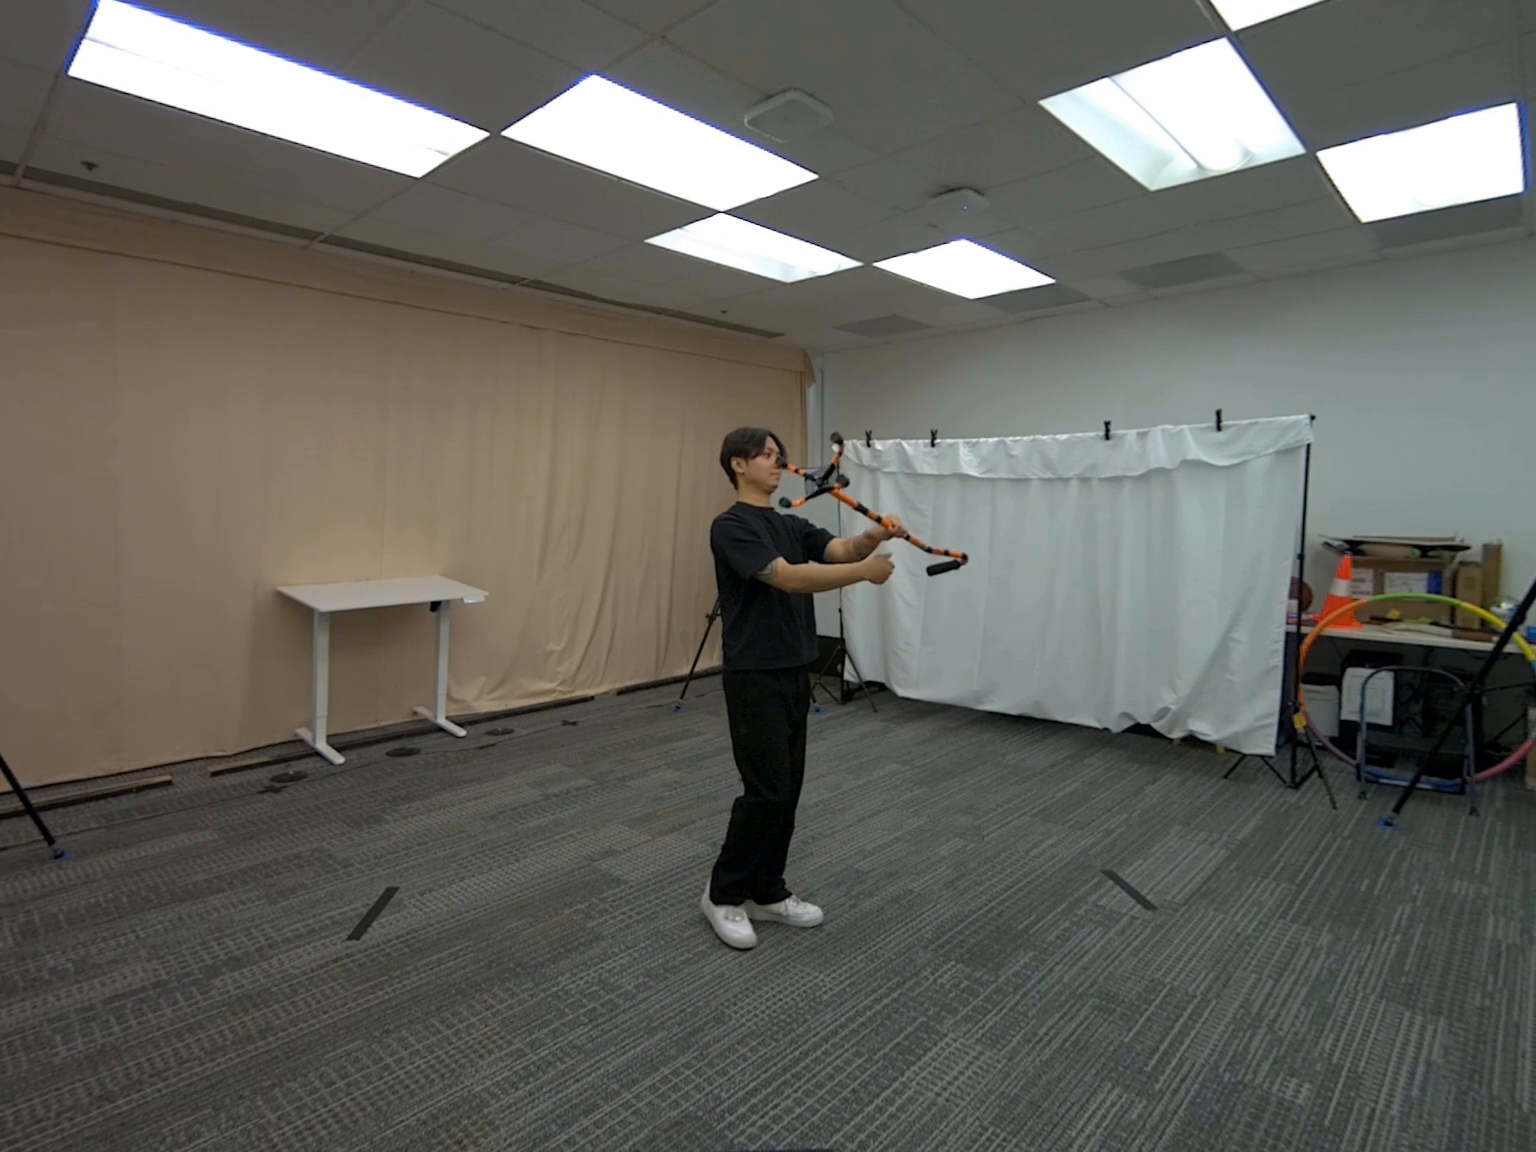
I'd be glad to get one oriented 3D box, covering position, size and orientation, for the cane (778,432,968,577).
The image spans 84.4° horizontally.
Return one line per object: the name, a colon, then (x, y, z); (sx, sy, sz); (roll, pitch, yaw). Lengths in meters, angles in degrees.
cane: (0.374, -0.161, 2.510); (0.211, 0.154, 0.875); (-21, -27, 32)
